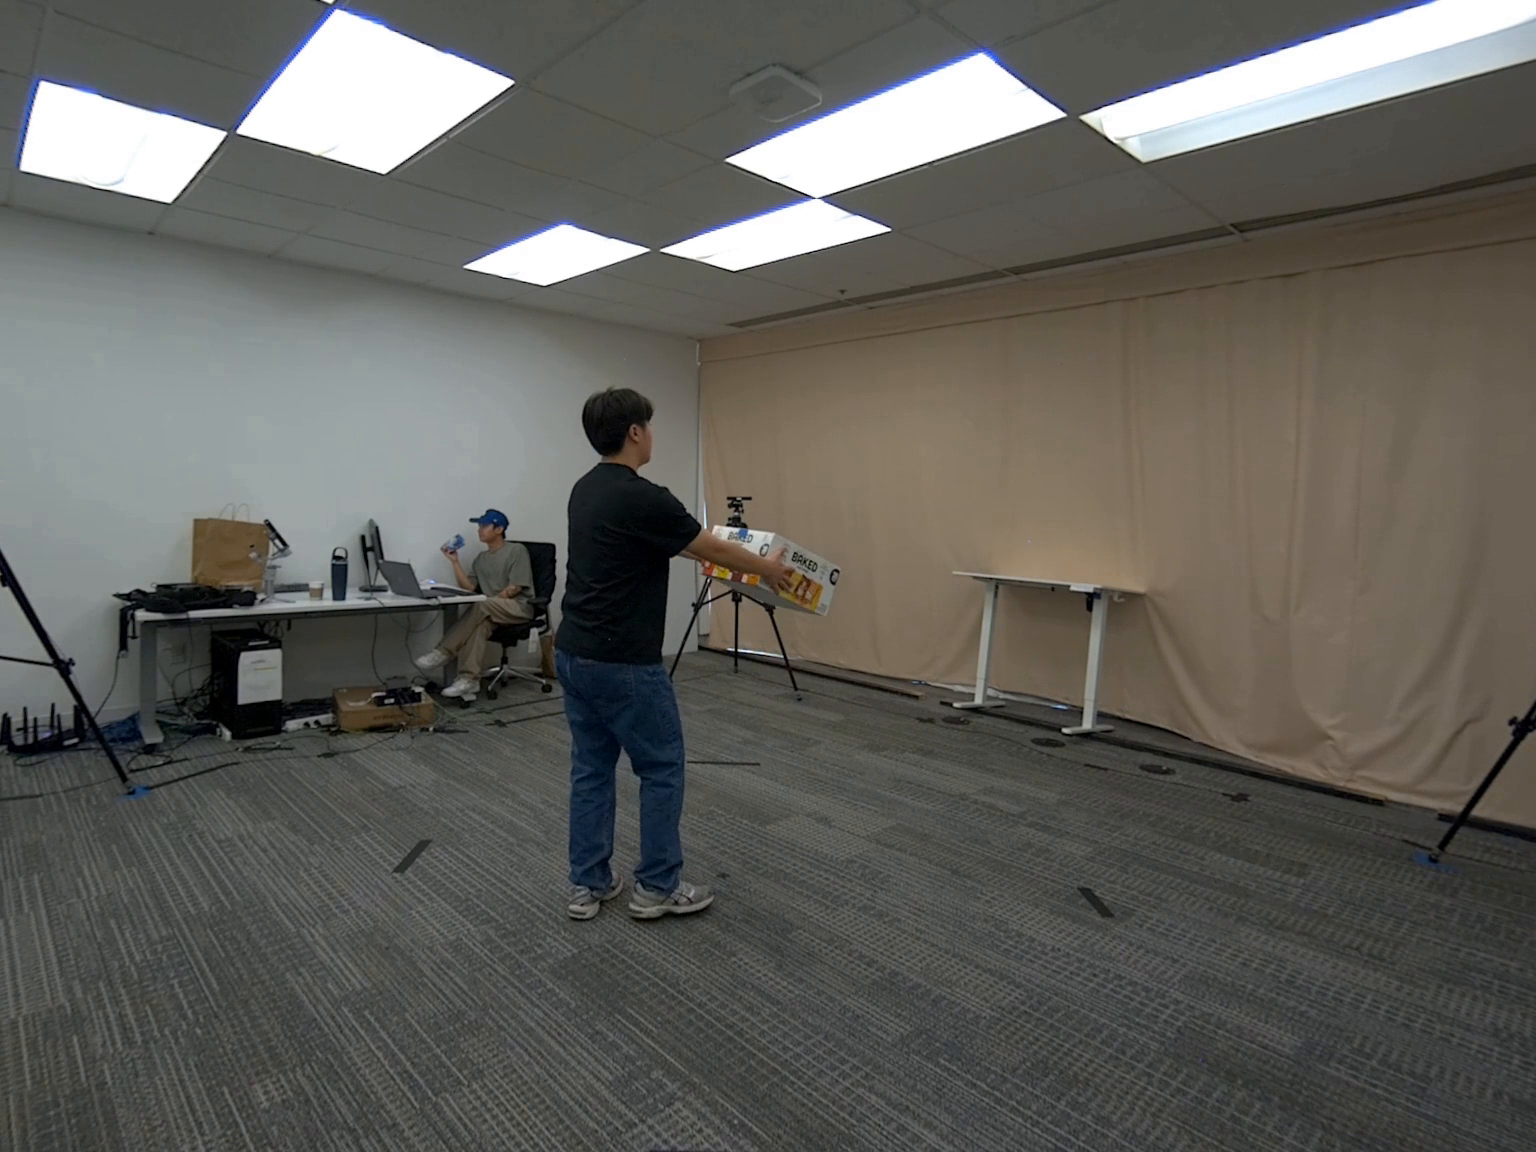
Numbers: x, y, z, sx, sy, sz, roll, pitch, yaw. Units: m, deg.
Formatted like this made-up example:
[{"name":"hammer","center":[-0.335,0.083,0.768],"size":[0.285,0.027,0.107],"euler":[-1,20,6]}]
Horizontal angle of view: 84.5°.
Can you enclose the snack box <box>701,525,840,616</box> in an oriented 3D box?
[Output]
[{"name":"snack box","center":[0.007,-0.016,3.270],"size":[0.349,0.206,0.393],"euler":[11,-11,47]}]
